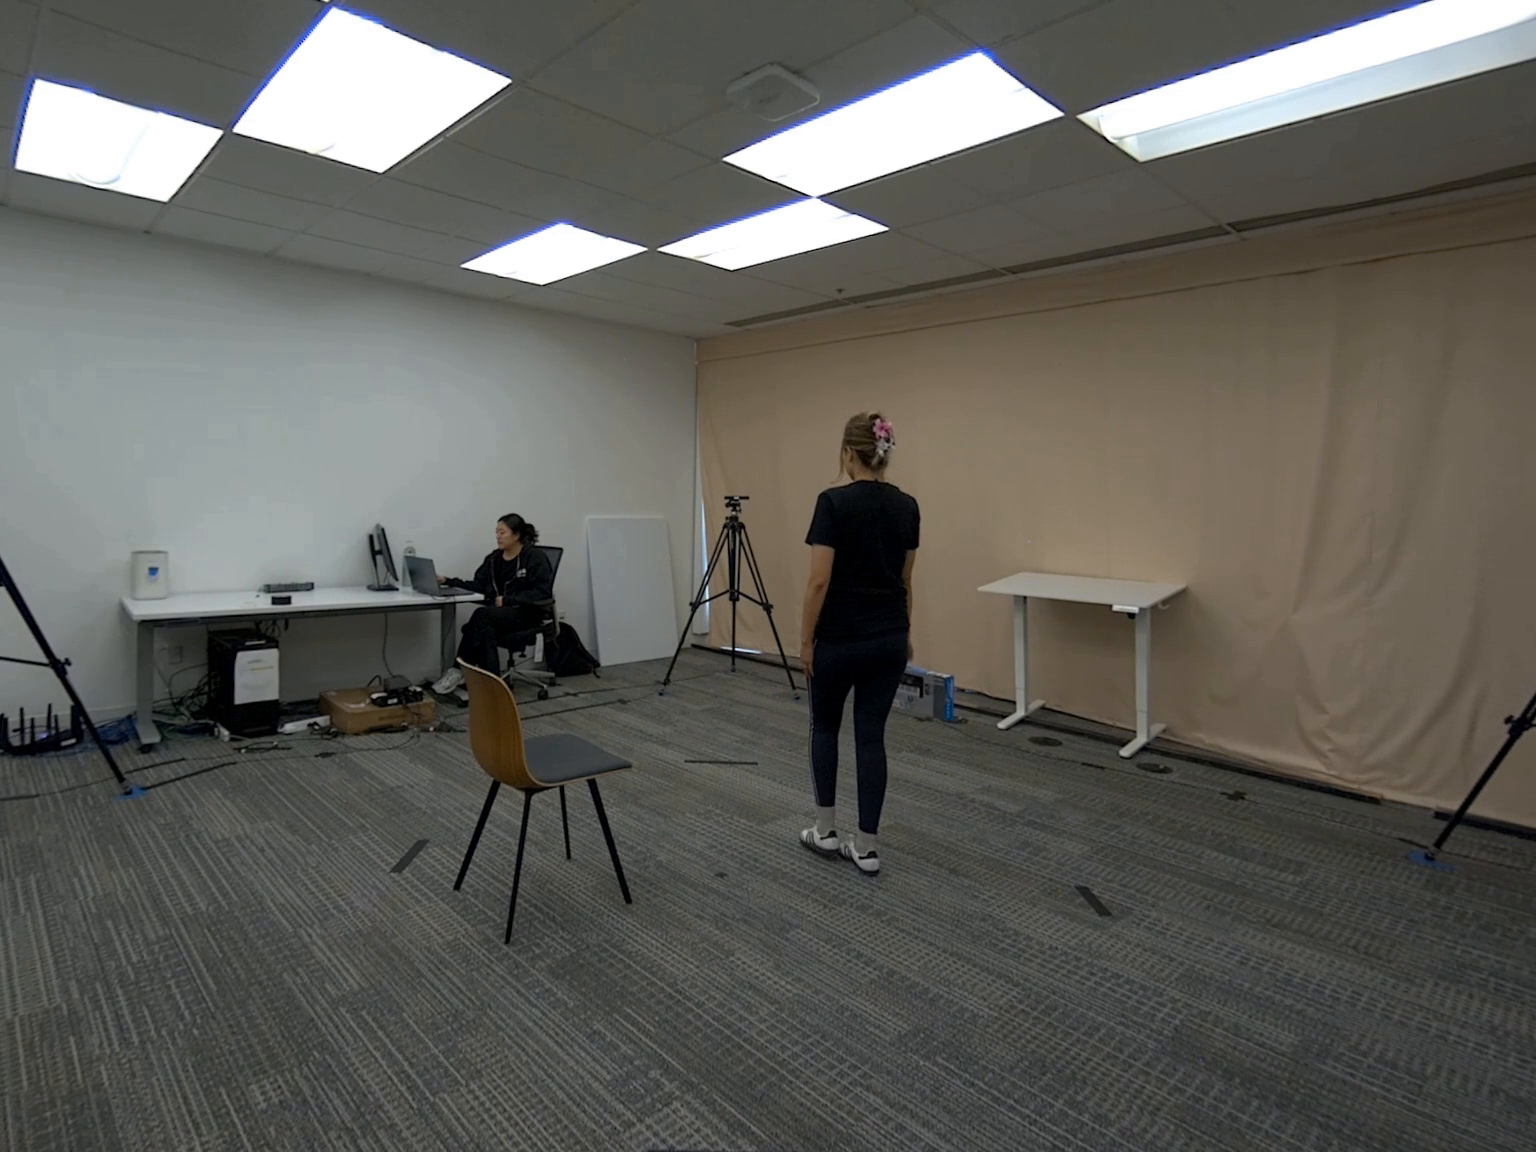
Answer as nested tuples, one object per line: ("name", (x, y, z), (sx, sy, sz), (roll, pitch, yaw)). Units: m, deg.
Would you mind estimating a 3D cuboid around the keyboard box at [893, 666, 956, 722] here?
("keyboard box", (0.555, 0.463, 3.464), (0.058, 0.175, 0.448), (-5, 8, -42))
